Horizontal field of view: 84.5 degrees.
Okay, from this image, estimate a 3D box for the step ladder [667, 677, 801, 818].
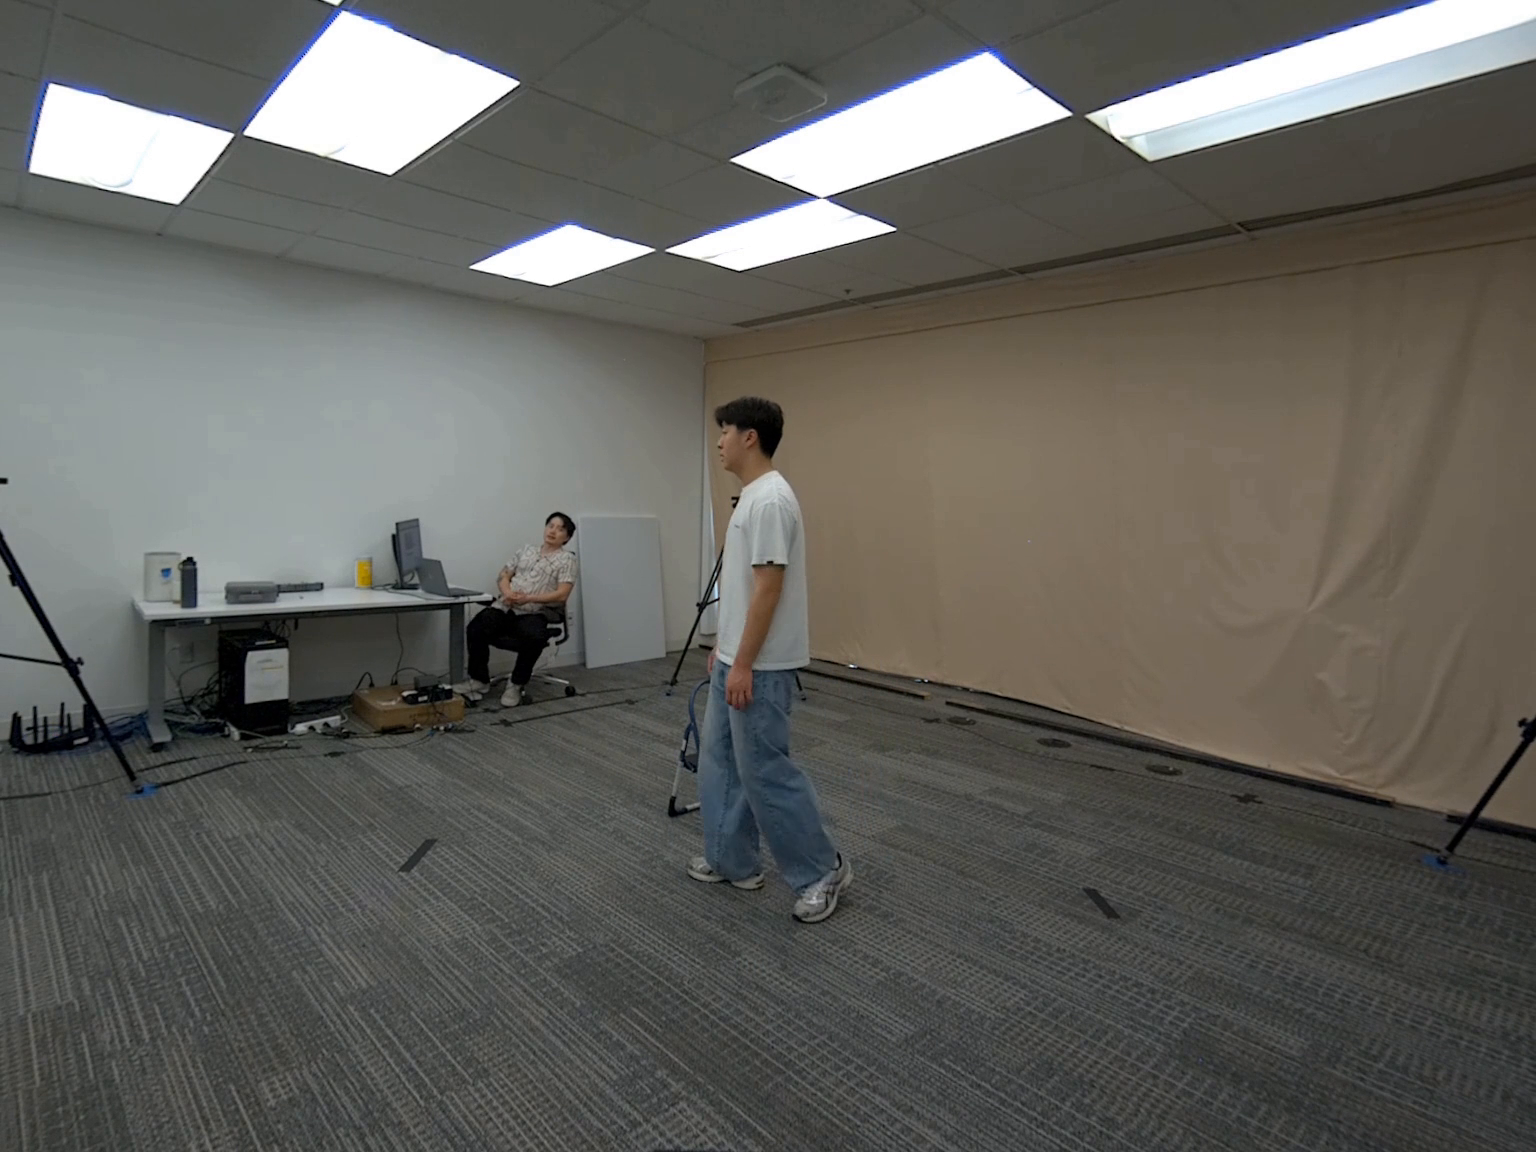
[{"bbox_3d":[-0.170,0.755,3.672,0.420,0.605,0.358,-1,4,-44],"label":"step ladder"}]
